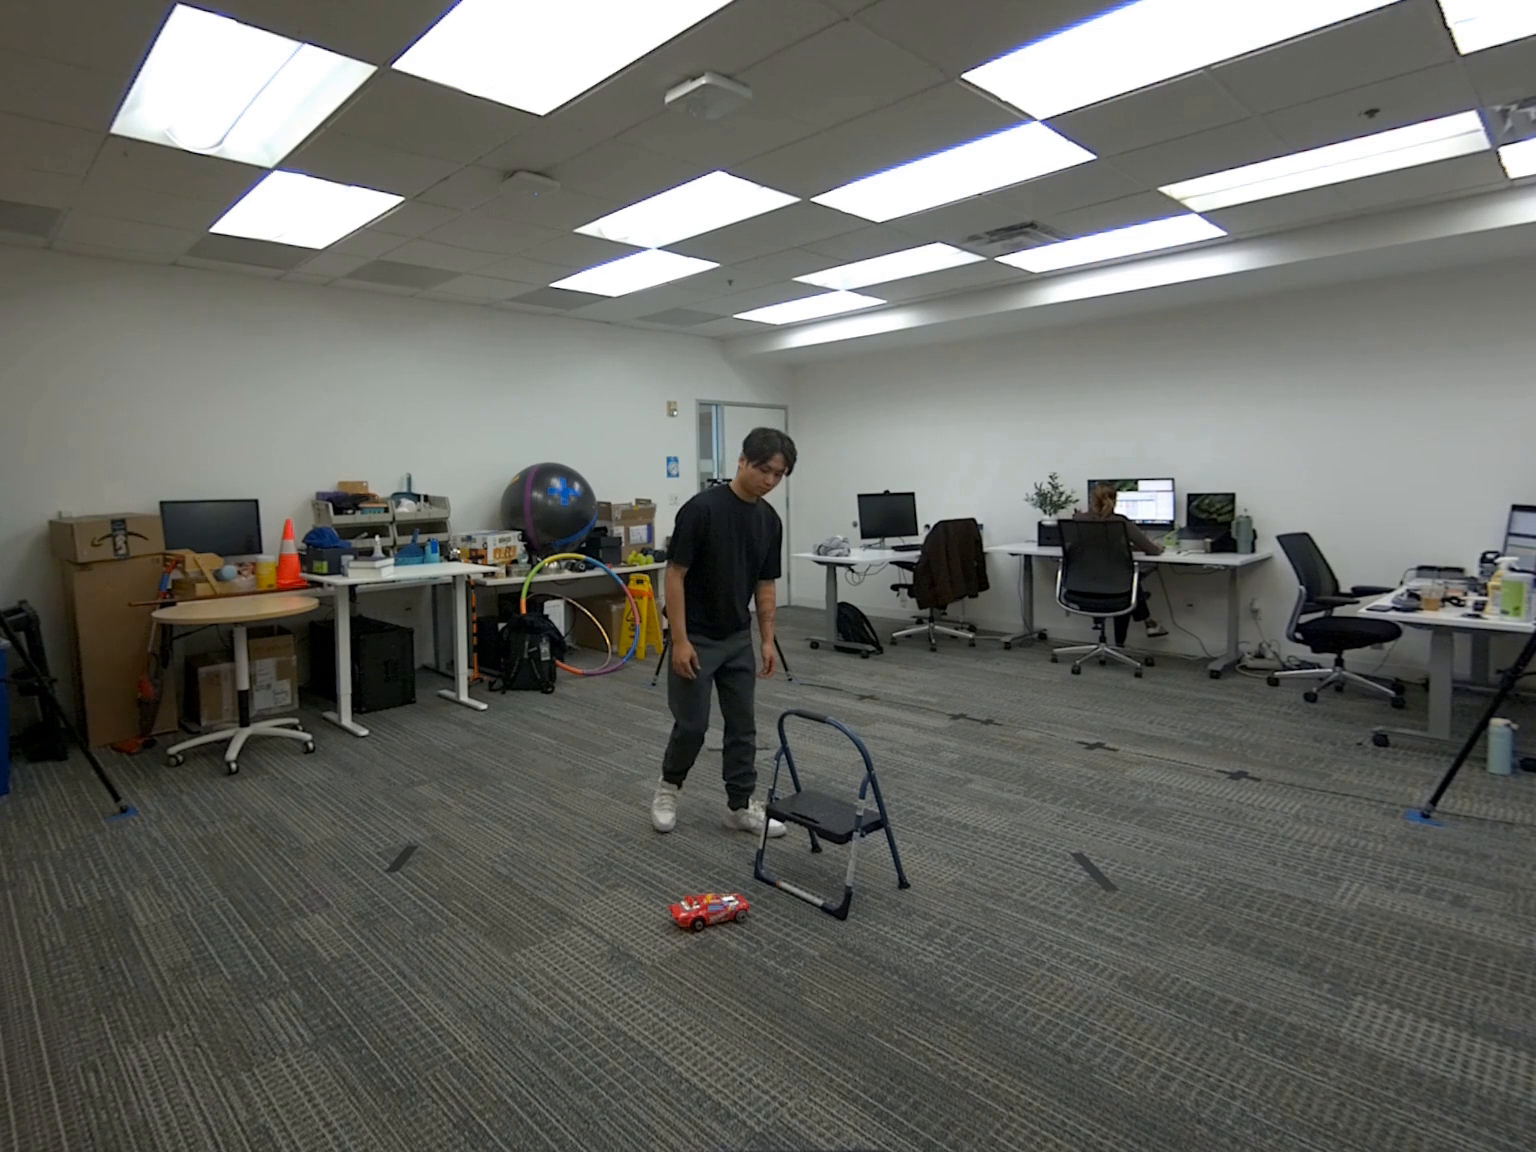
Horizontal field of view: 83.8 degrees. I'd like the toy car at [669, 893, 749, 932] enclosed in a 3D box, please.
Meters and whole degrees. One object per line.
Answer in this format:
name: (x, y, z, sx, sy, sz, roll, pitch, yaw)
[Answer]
toy car: (-0.192, 1.062, 2.712, 0.249, 0.083, 0.133, 10, 2, -22)
